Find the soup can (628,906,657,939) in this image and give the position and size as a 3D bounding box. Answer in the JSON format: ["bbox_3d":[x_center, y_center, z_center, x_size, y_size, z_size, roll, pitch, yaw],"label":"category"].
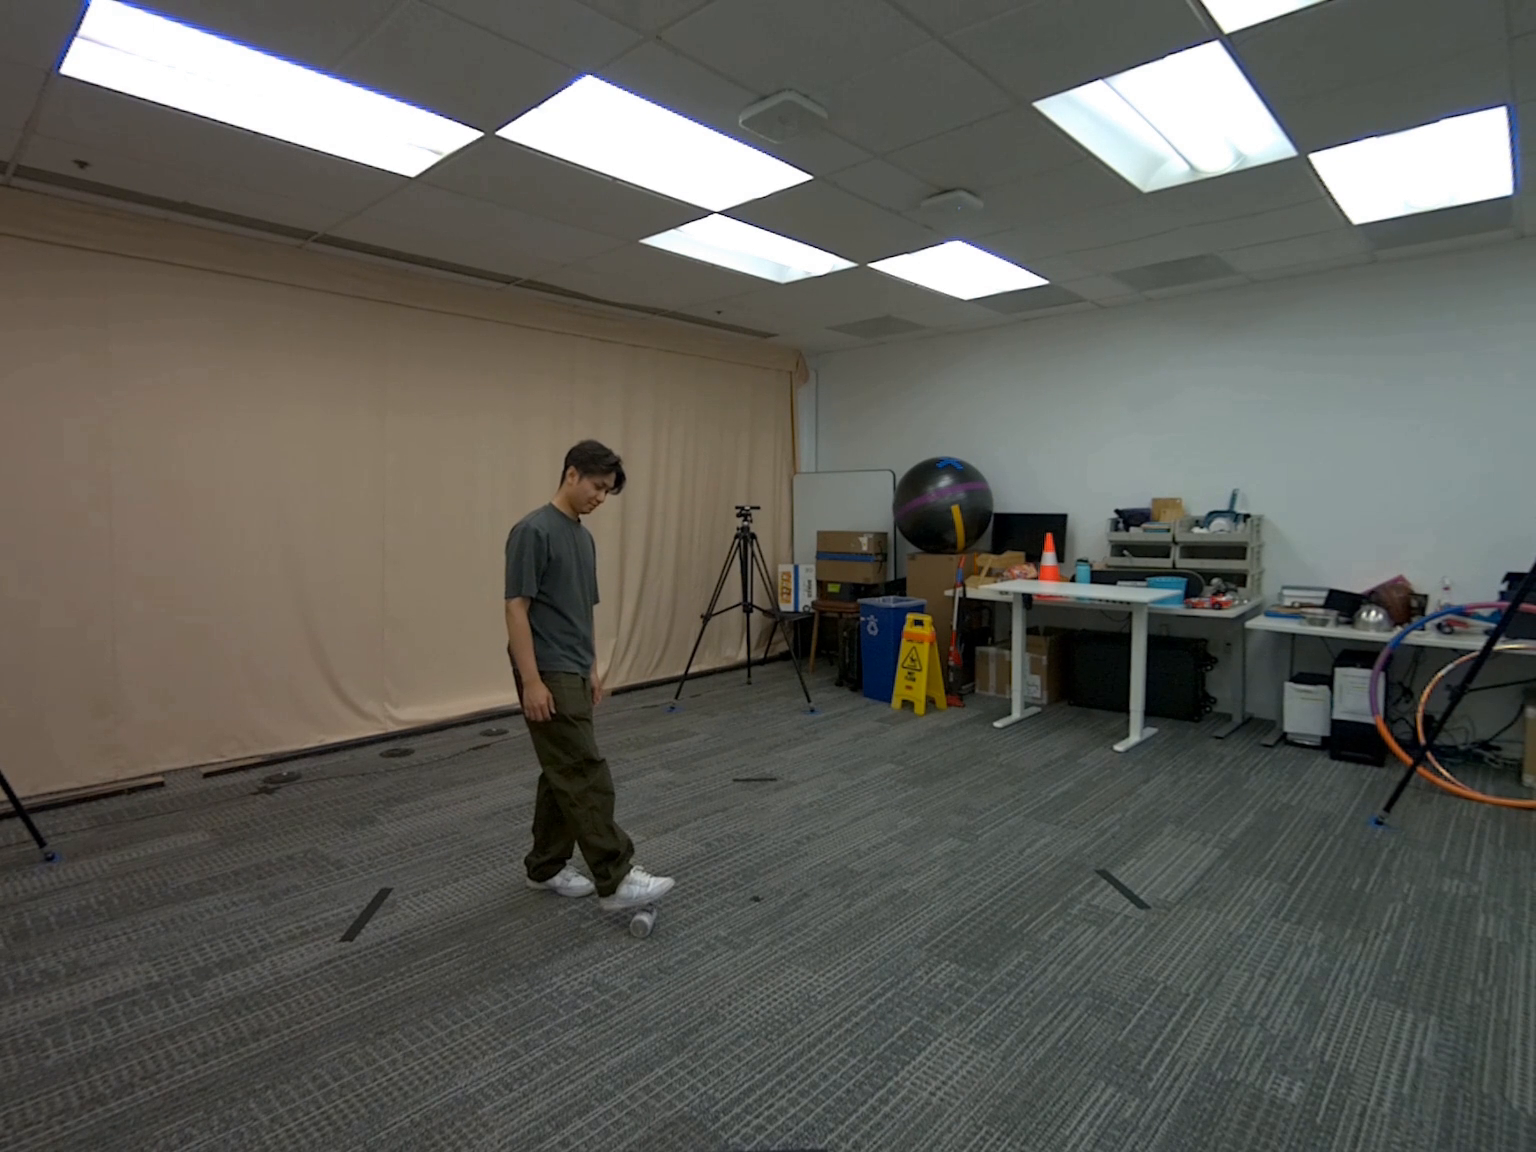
[{"bbox_3d":[-0.414,1.126,2.757,0.067,0.067,0.122,0,1,-4],"label":"soup can"}]
